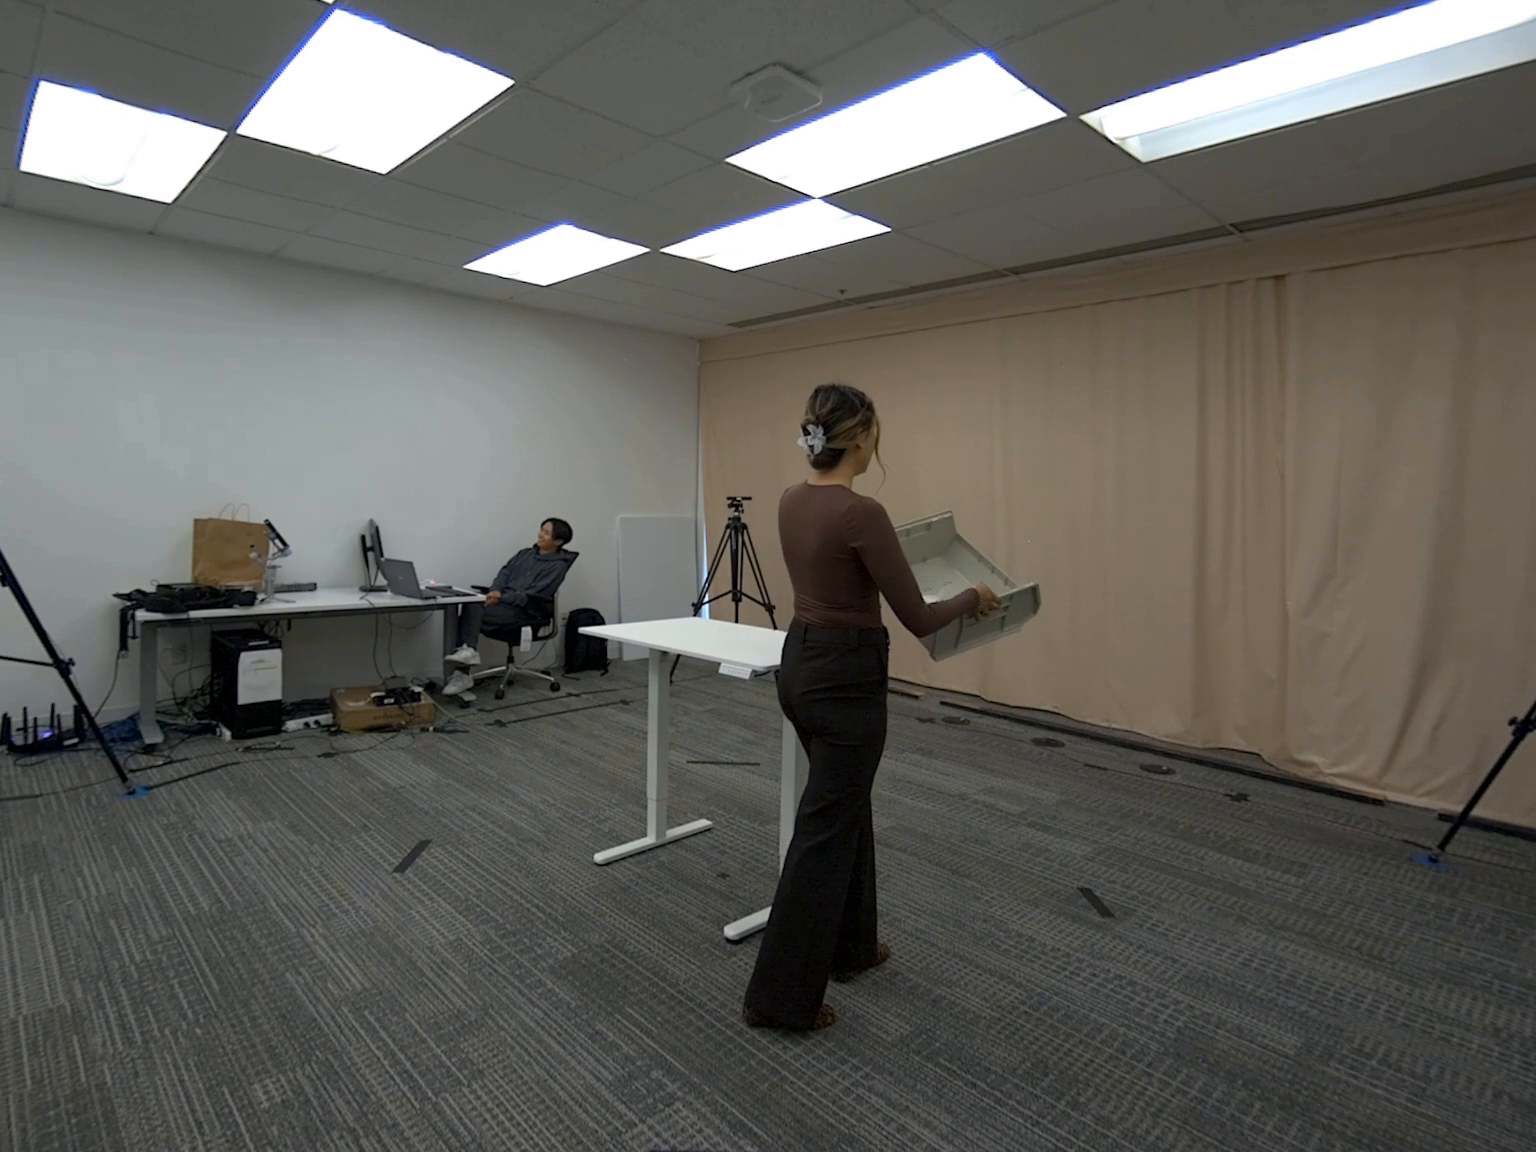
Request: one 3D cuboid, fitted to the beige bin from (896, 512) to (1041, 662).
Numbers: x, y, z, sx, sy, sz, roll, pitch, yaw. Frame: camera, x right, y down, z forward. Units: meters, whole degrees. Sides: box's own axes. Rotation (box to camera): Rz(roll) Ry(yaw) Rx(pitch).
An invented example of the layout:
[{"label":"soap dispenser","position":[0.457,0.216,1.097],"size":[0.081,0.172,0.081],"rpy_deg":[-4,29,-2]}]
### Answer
[{"label":"beige bin","position":[0.553,0.014,2.580],"size":[0.374,0.185,0.436],"rpy_deg":[-19,42,-18]}]
